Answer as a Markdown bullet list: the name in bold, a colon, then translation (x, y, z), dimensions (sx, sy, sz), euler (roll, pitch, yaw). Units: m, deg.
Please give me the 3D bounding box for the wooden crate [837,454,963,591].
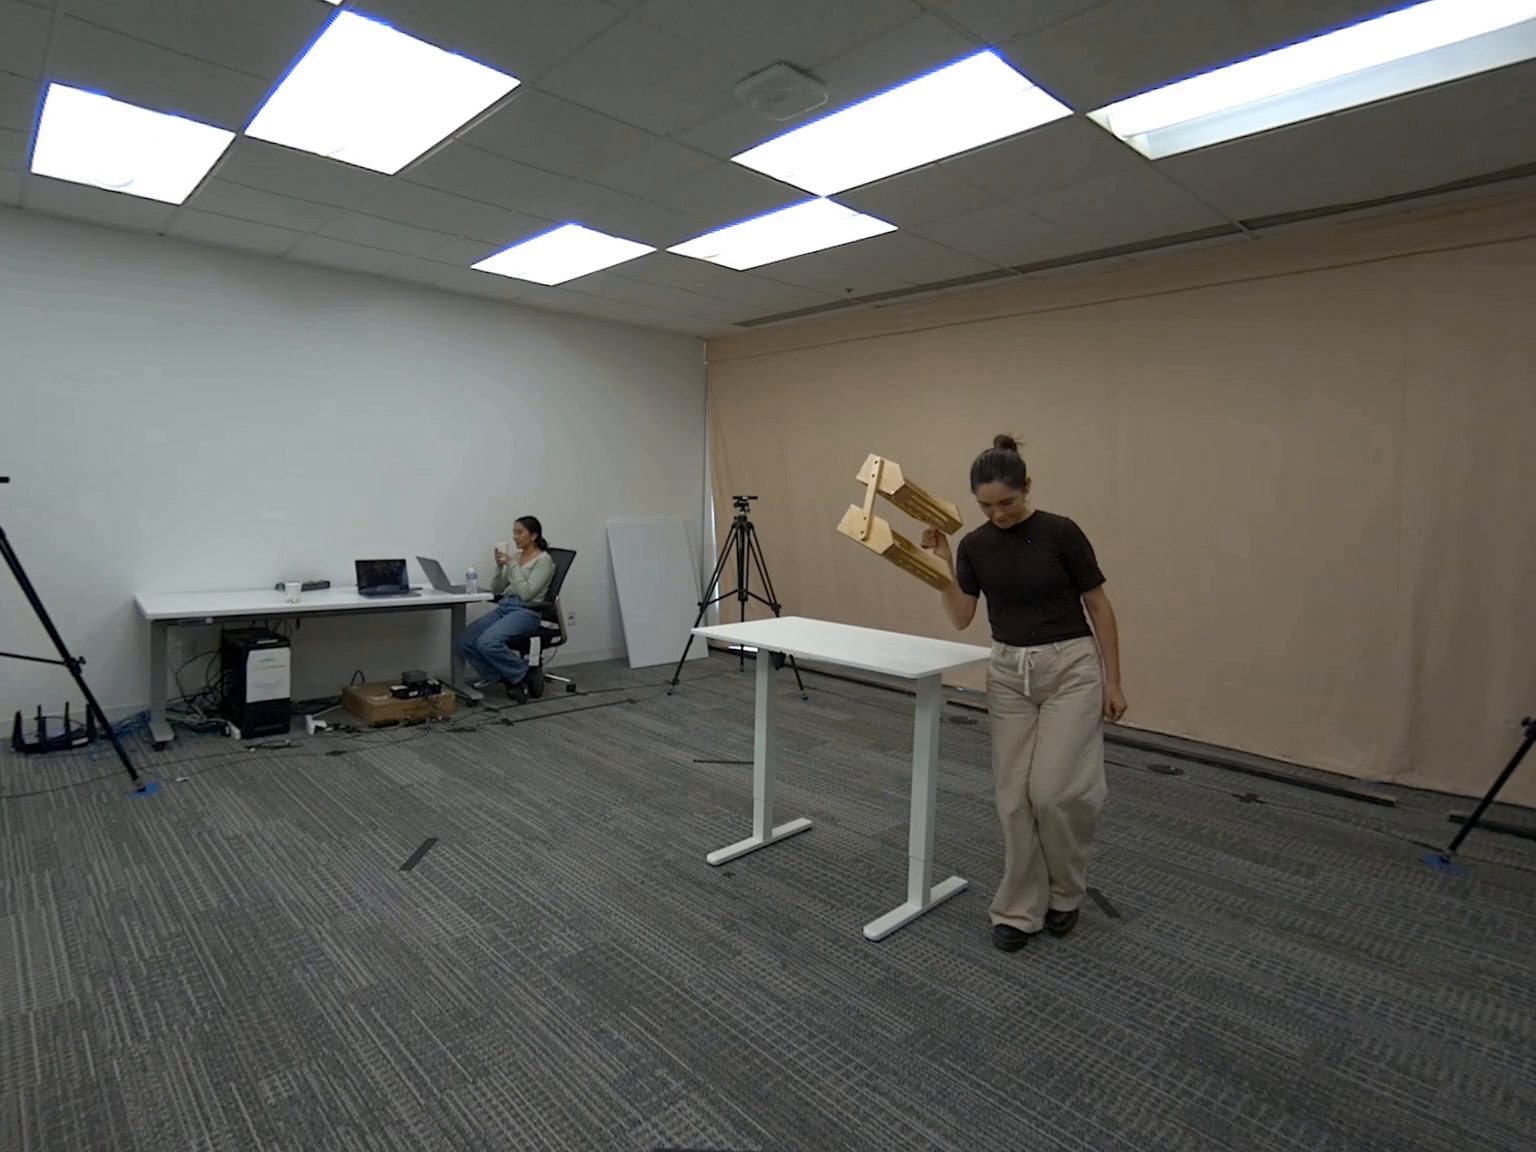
- **wooden crate**: translation (0.436, -0.165, 2.604), dimensions (0.315, 0.273, 0.311), euler (29, 5, -35)
